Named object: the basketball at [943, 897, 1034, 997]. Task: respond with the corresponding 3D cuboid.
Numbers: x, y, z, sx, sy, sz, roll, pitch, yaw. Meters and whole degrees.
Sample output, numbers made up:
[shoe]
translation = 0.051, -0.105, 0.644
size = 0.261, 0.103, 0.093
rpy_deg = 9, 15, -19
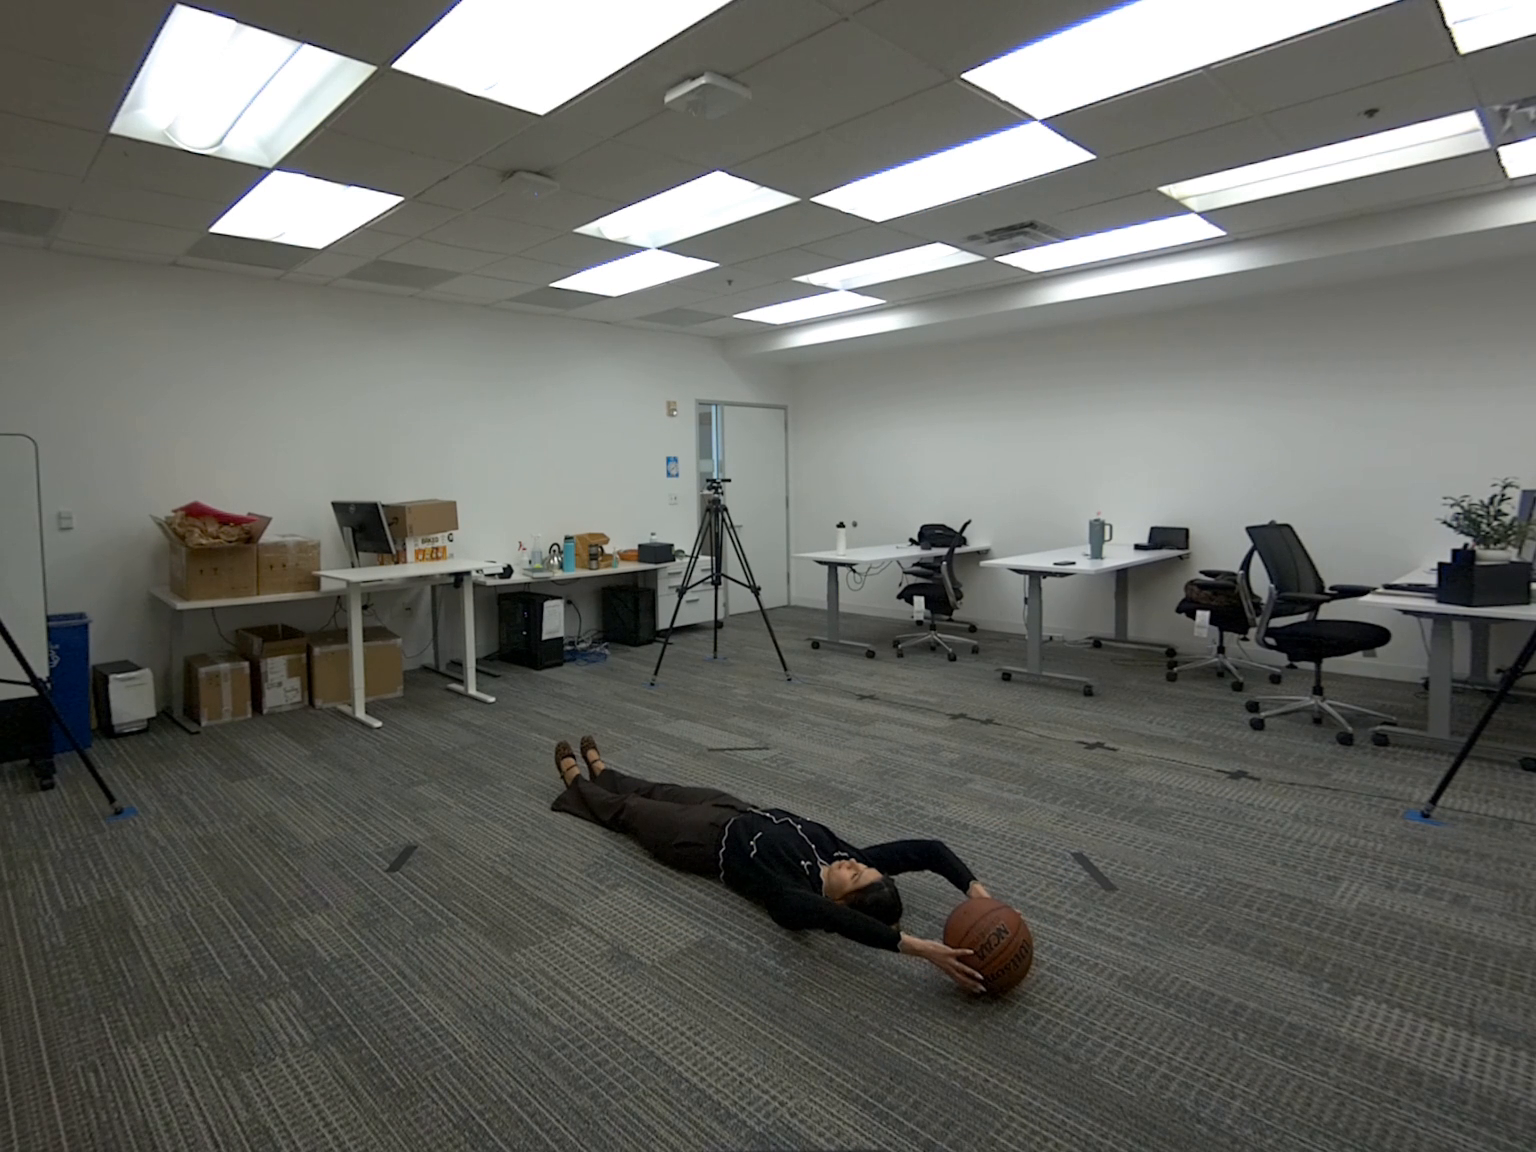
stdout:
[basketball]
translation = 0.606, 1.007, 2.327
size = 0.236, 0.235, 0.237
rpy_deg = -1, 5, -2
